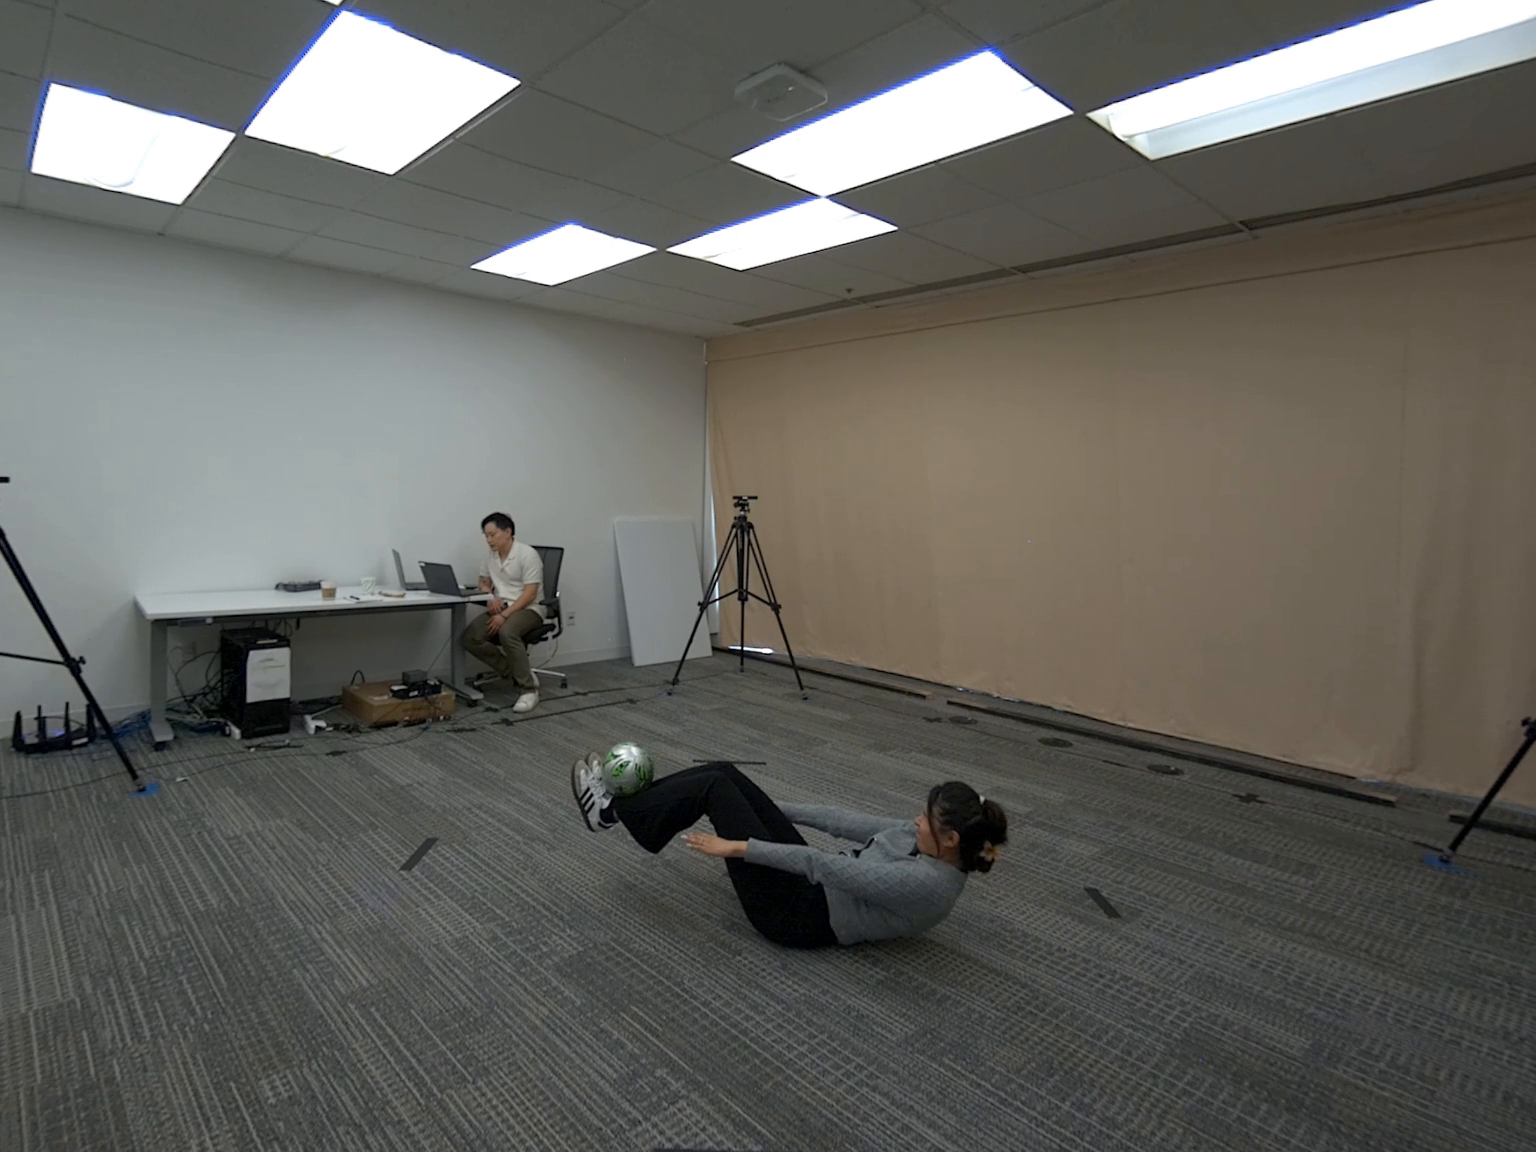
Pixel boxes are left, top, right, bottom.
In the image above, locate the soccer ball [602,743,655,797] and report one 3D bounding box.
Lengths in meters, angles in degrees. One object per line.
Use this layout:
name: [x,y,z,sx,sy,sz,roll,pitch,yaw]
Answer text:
soccer ball: [-0.493,0.673,2.915,0.187,0.187,0.188,1,4,-1]
